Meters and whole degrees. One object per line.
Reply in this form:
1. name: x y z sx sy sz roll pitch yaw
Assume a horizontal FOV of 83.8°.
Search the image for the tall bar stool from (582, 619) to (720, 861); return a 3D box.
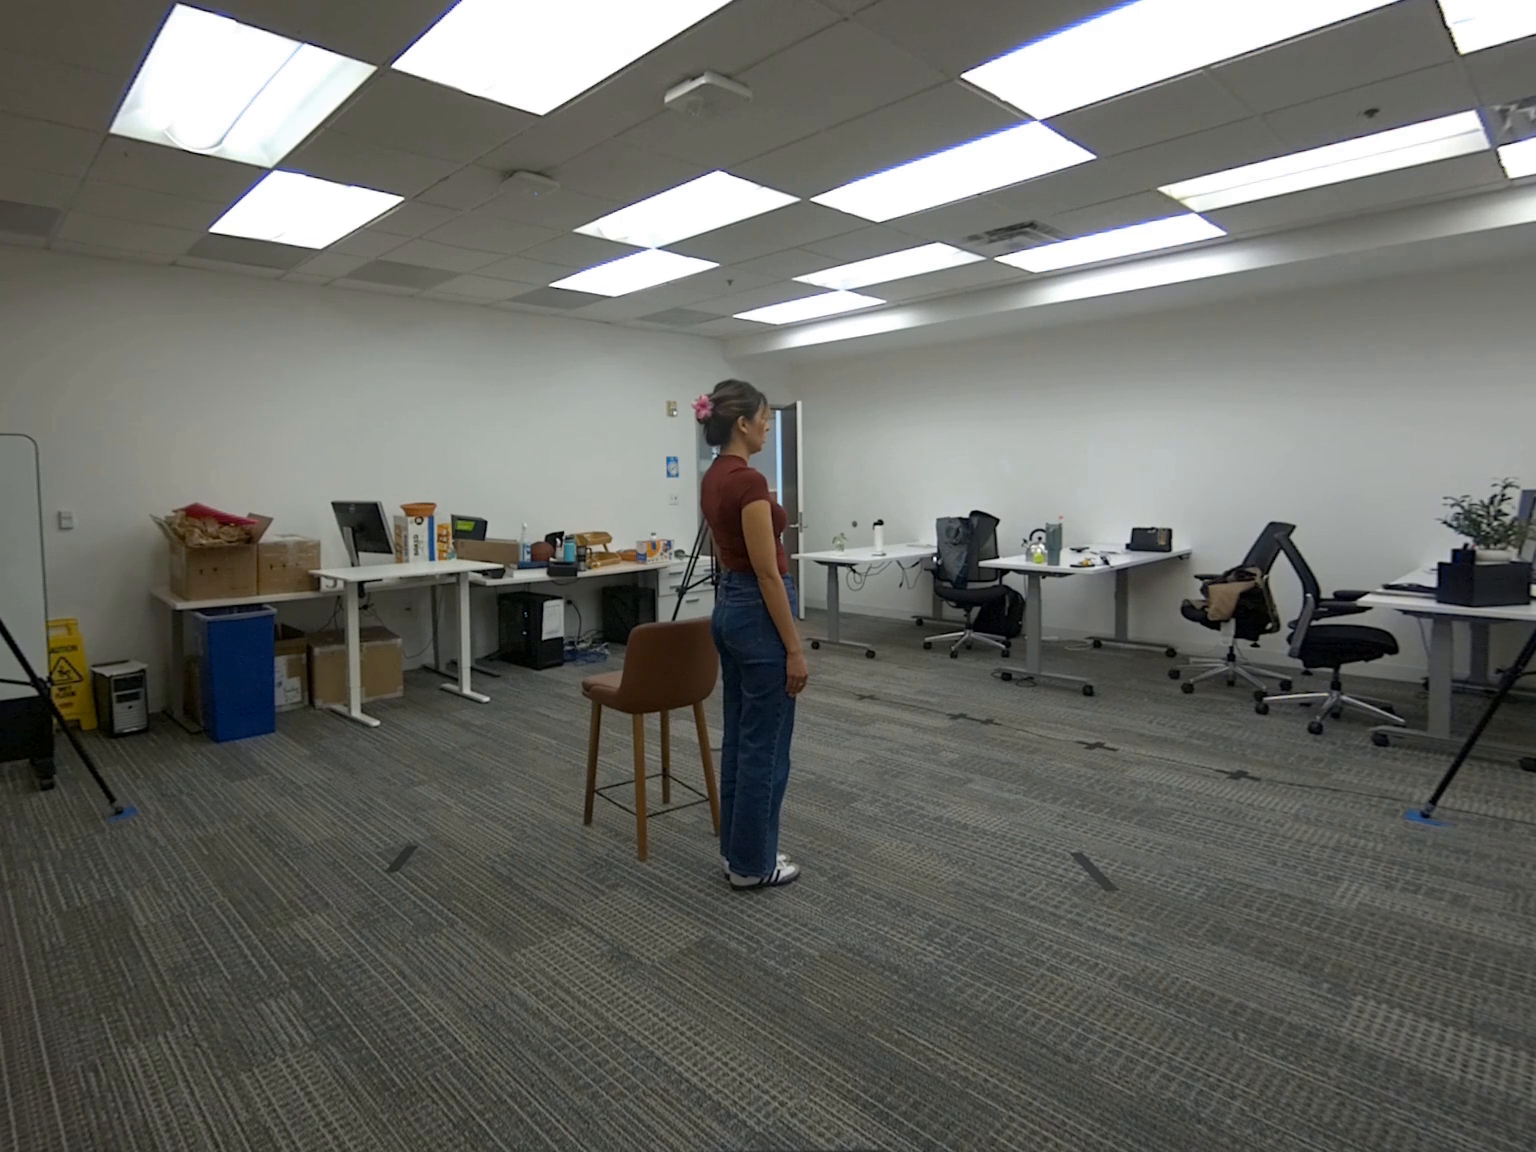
1. tall bar stool: -0.462 0.582 3.400 0.445 0.885 0.482 -4 7 -37
